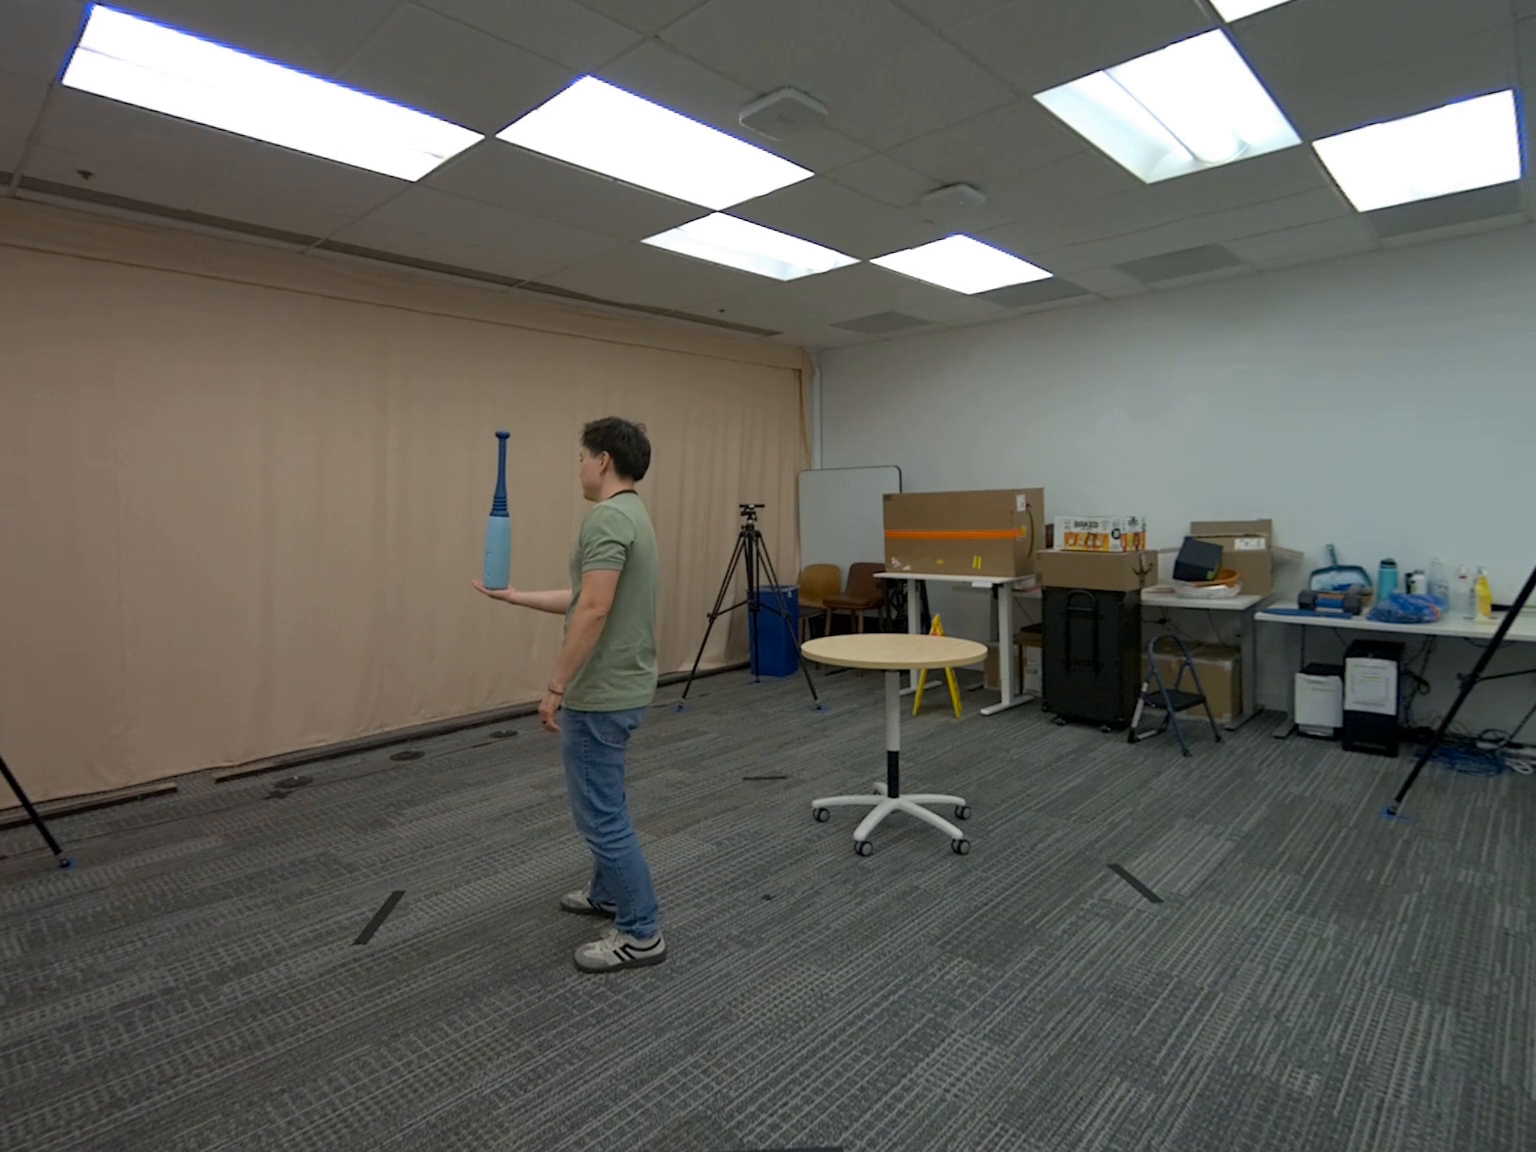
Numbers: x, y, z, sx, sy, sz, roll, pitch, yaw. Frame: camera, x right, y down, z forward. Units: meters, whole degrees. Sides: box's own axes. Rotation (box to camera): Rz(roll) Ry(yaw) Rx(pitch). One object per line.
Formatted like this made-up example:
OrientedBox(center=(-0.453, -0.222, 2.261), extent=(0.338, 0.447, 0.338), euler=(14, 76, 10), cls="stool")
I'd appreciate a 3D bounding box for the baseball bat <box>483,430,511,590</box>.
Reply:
OrientedBox(center=(-0.905, -0.221, 2.884), extent=(0.089, 0.542, 0.089), euler=(3, 2, -2), cls="baseball bat")
